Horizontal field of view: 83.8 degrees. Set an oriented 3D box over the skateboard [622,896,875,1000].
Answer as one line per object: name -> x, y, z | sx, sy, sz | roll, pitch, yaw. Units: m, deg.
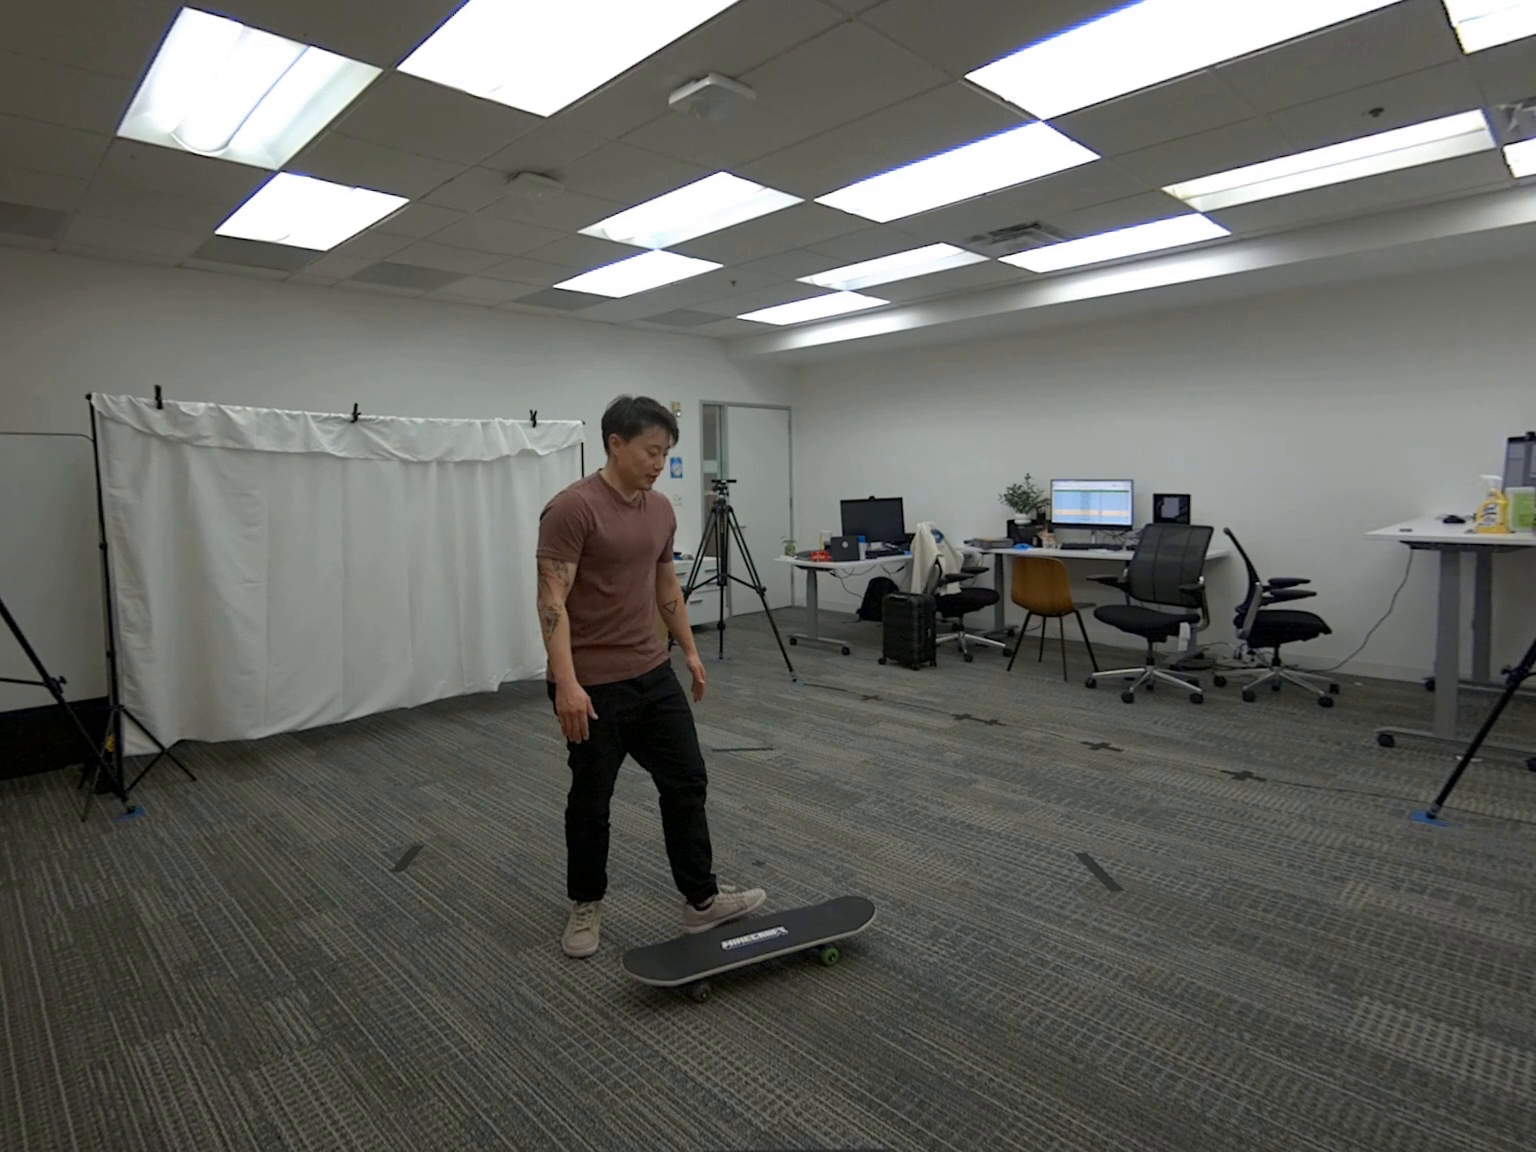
skateboard -> -0.033, 1.063, 2.449 | 0.770, 0.110, 0.198 | -4, 7, -24
